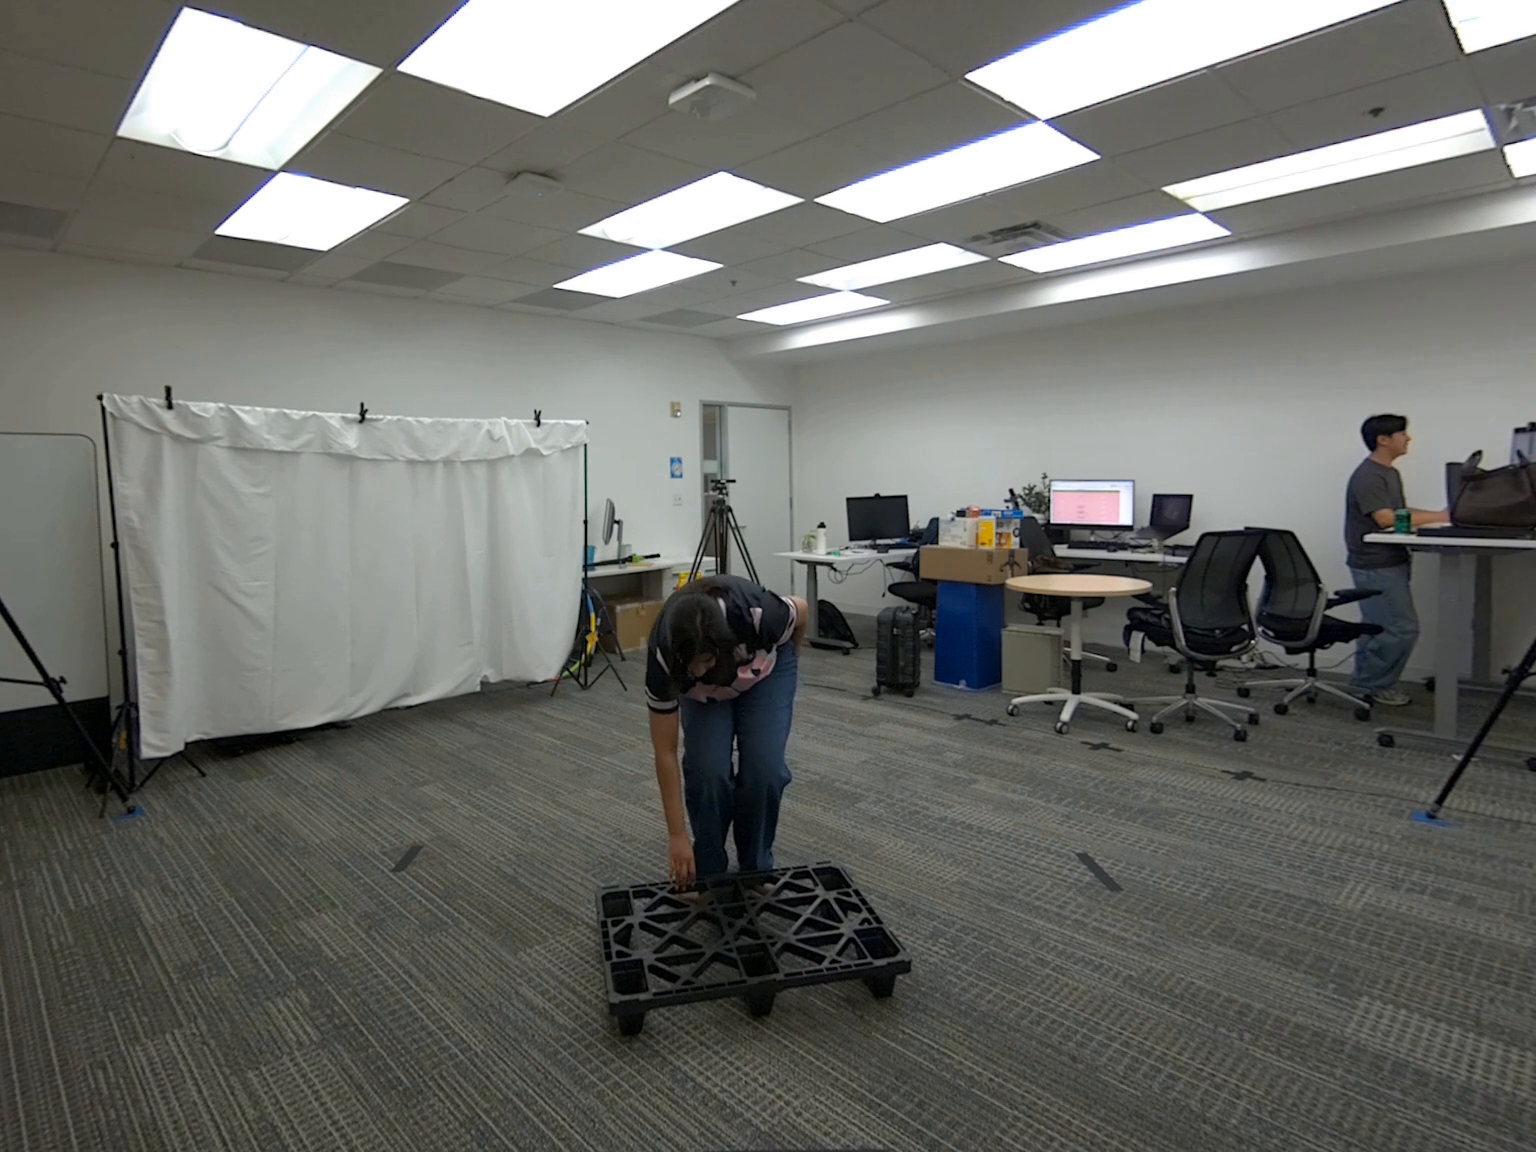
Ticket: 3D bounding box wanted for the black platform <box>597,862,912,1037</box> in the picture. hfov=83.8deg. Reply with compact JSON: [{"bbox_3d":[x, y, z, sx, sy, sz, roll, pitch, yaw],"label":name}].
[{"bbox_3d":[-0.069,1.059,2.449,0.796,0.142,0.615,-3,7,-13],"label":"black platform"}]
